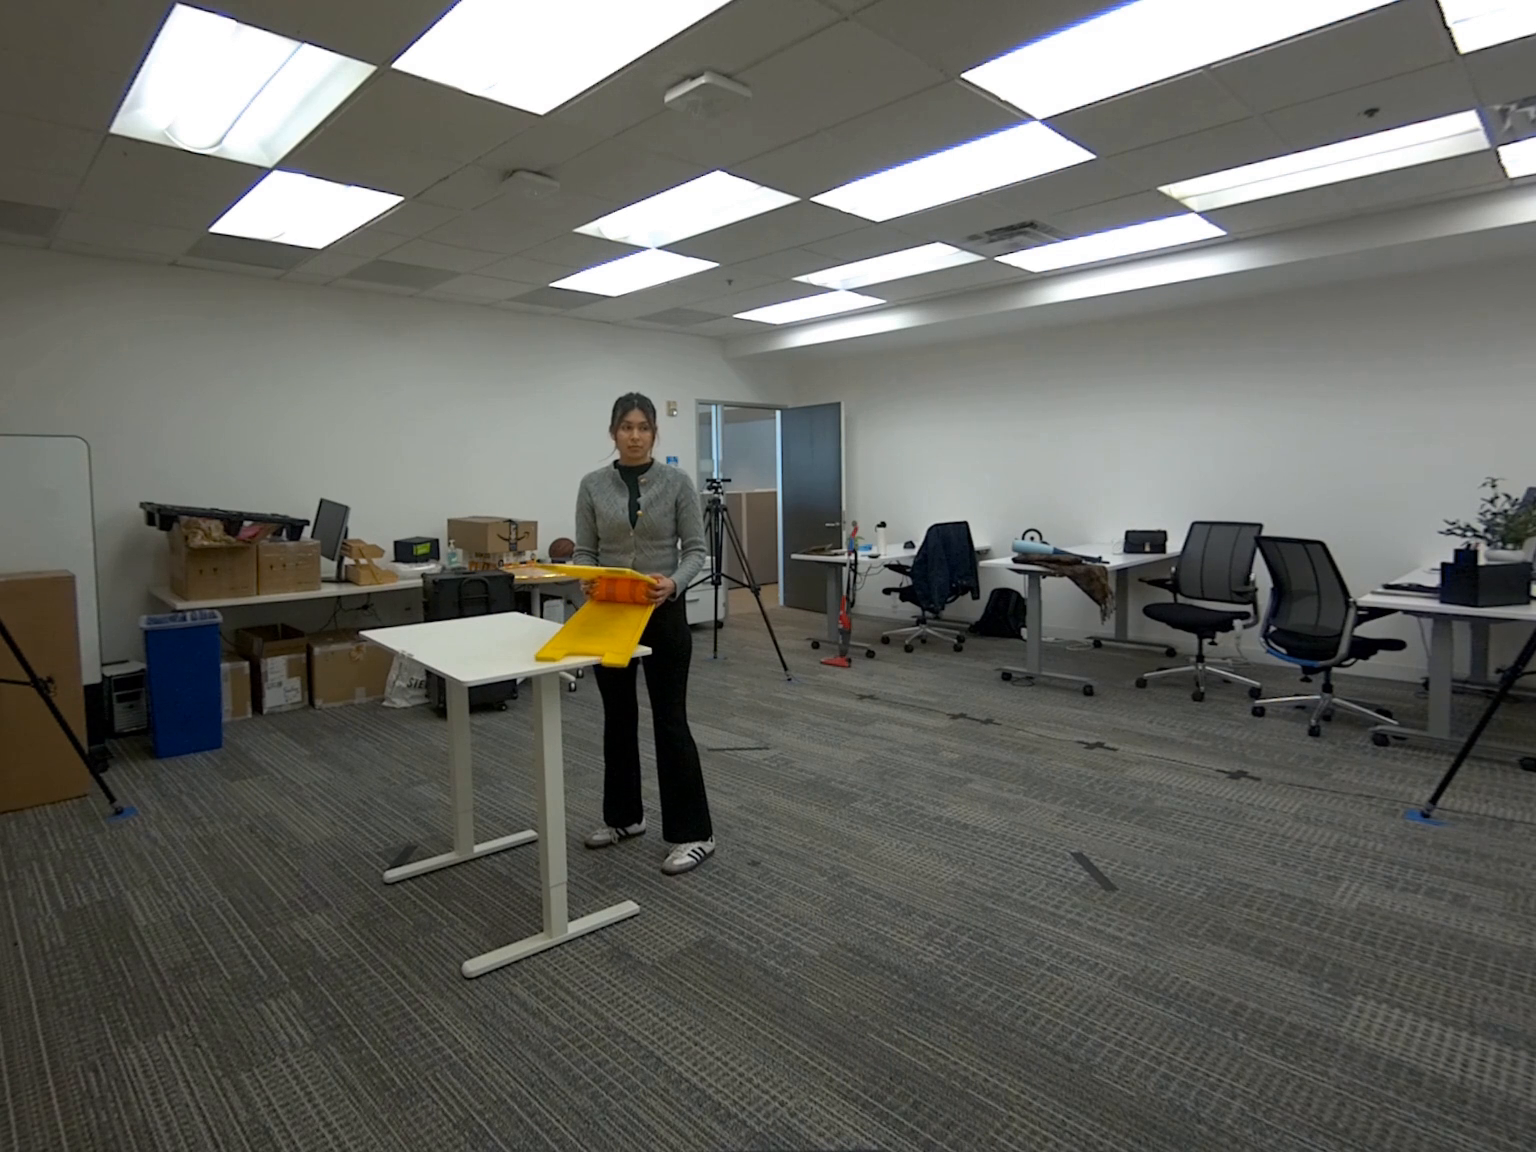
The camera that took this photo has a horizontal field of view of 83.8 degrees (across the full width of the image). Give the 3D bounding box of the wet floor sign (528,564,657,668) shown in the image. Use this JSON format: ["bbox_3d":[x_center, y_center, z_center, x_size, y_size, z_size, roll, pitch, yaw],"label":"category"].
[{"bbox_3d":[-0.483,0.074,2.757,0.285,0.288,0.644,3,8,8],"label":"wet floor sign"}]
